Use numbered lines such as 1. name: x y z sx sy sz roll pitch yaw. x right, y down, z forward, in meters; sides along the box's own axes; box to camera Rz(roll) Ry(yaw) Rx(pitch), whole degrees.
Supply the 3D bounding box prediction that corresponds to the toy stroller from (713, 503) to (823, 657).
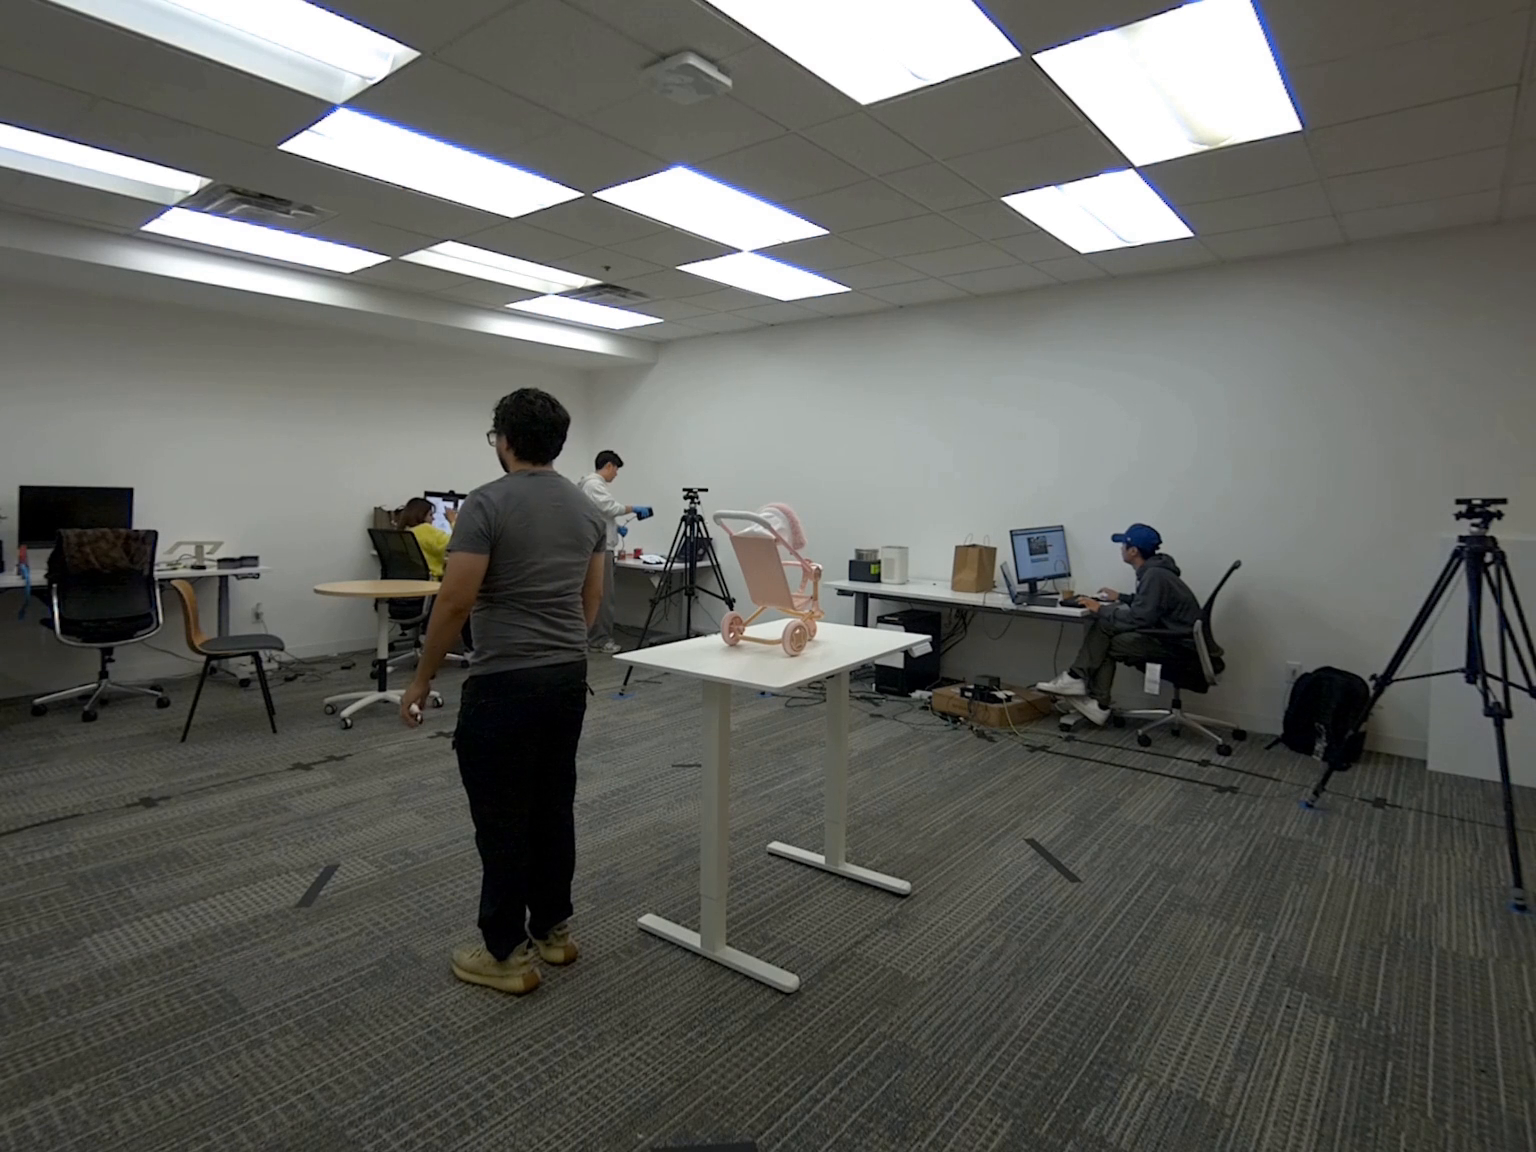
1. toy stroller: 0.018 0.004 2.722 0.291 0.527 0.335 5 20 44
